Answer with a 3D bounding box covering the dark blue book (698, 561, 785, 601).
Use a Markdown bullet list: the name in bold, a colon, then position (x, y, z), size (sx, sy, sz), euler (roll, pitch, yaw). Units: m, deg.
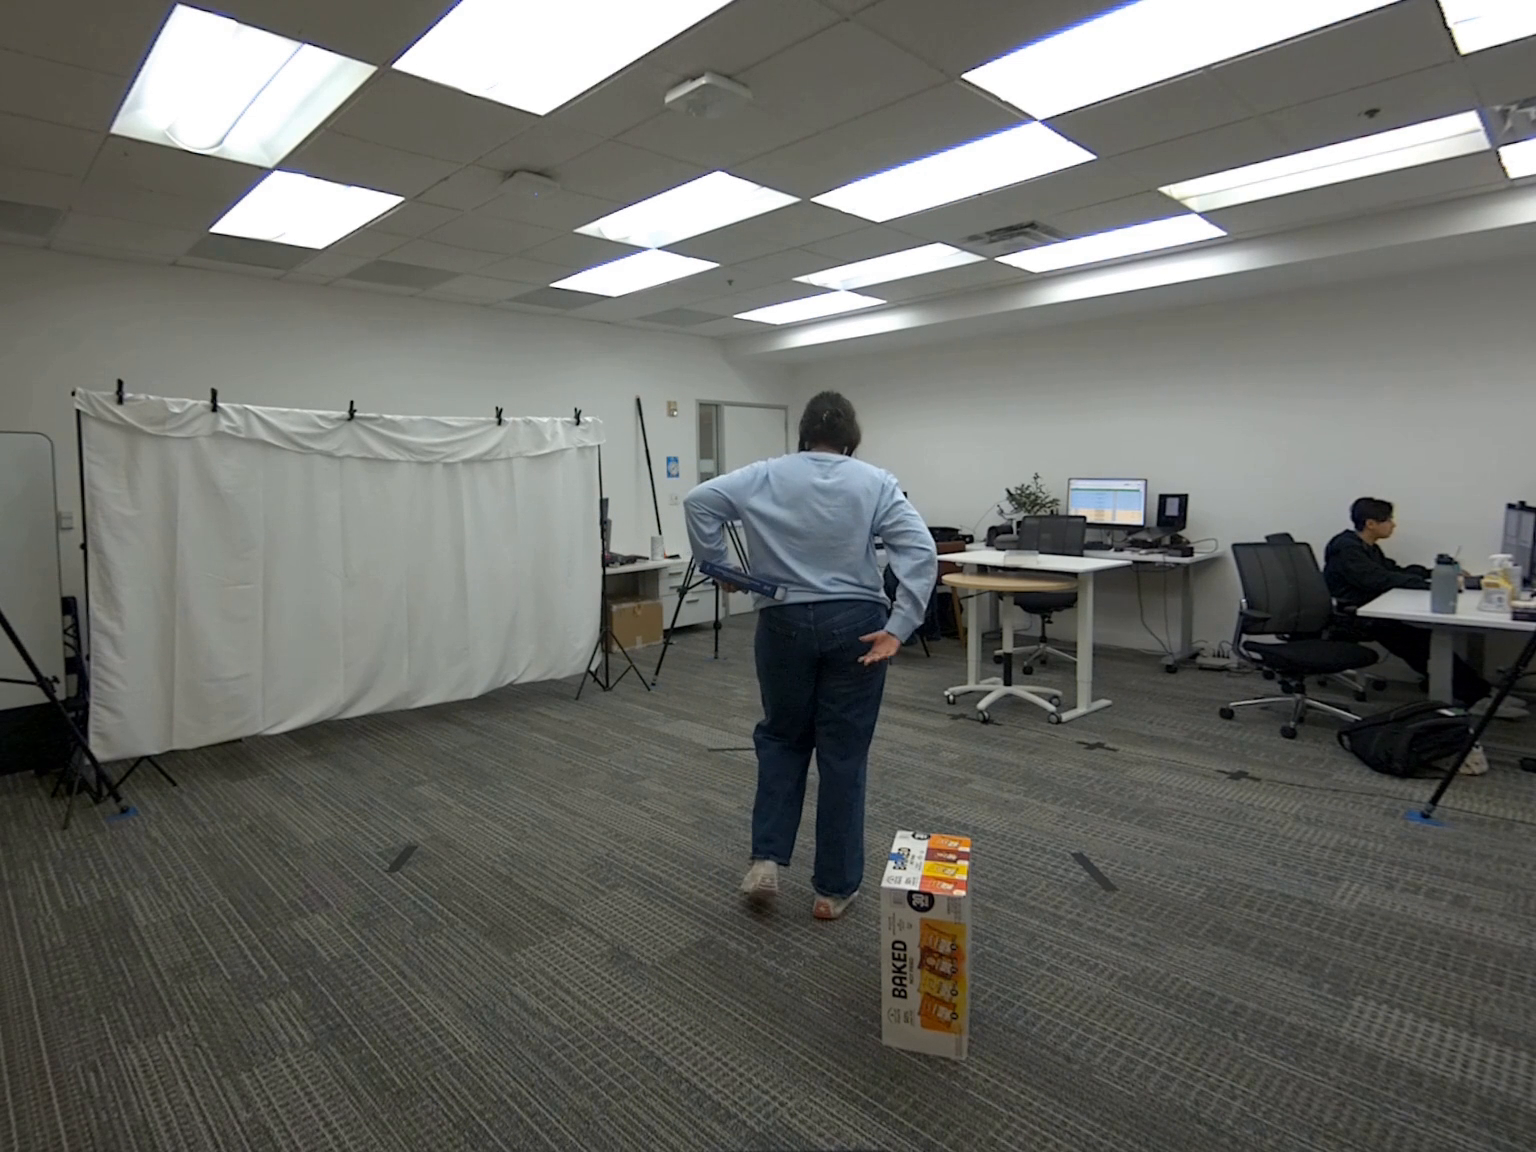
- **dark blue book**: position (-0.061, 0.016, 2.597), size (0.250, 0.045, 0.160), euler (20, 0, 16)
